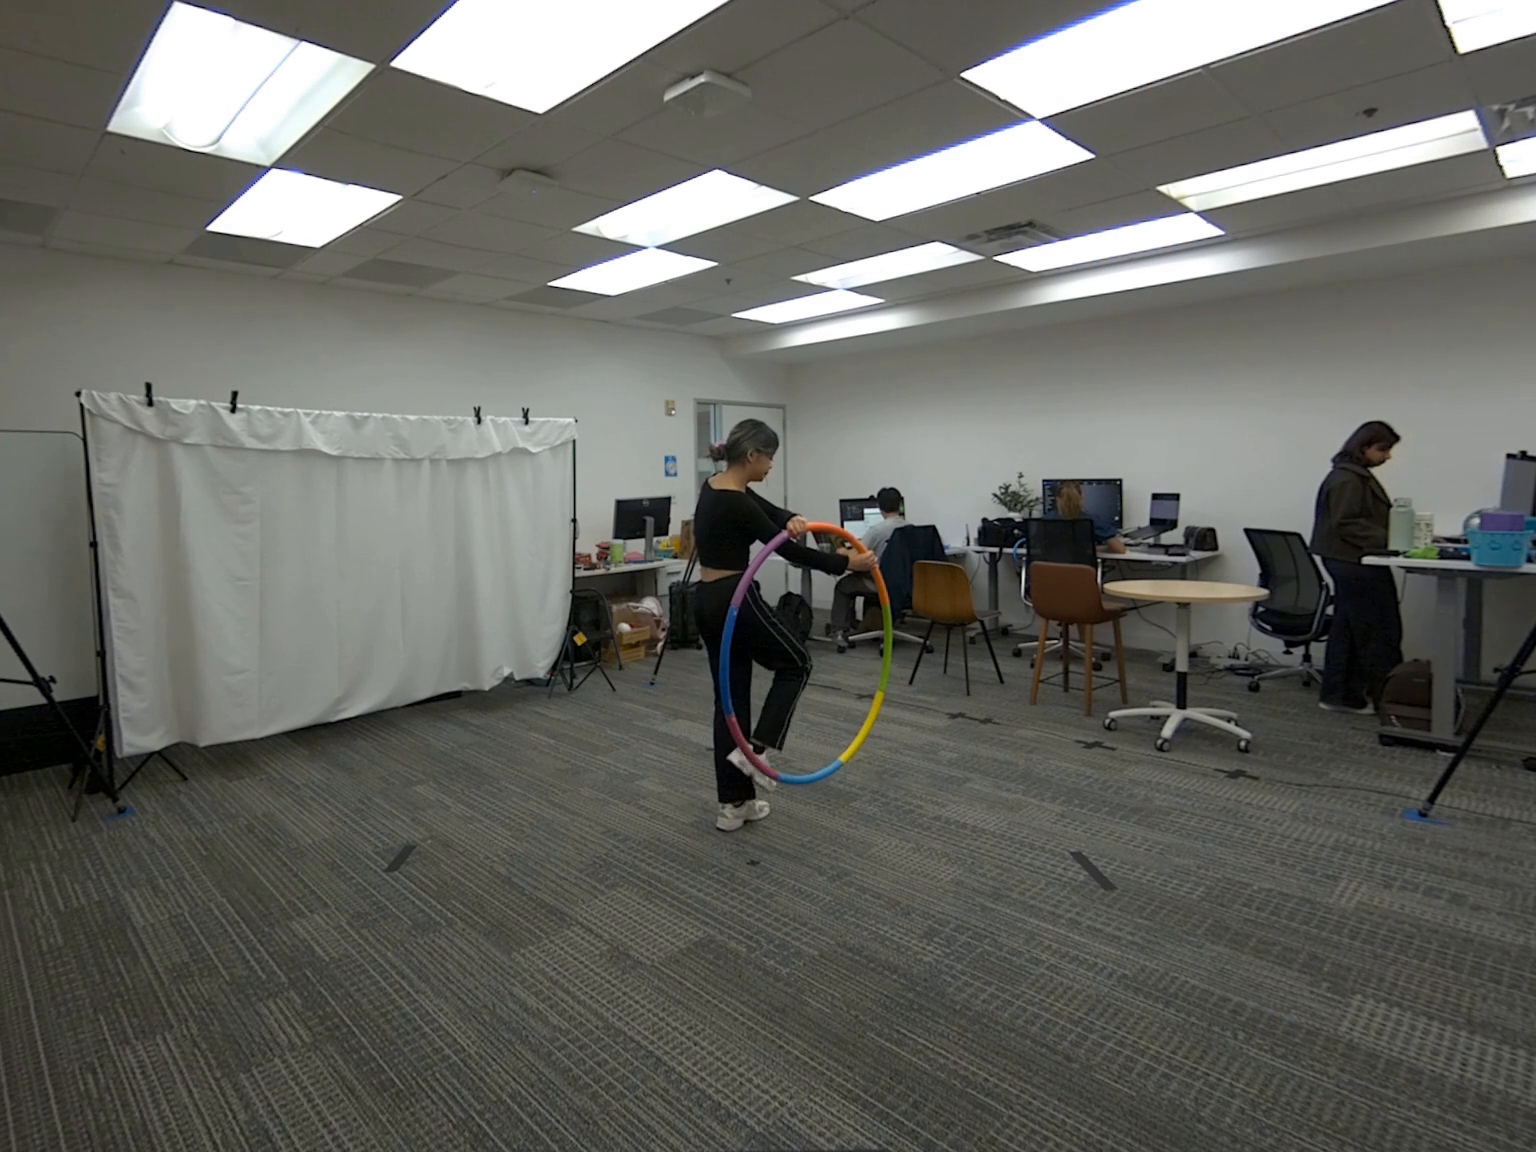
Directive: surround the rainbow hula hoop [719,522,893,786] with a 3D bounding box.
[{"bbox_3d":[0.165,0.283,3.290,0.953,0.976,0.036,-5,4,-43],"label":"rainbow hula hoop"}]
